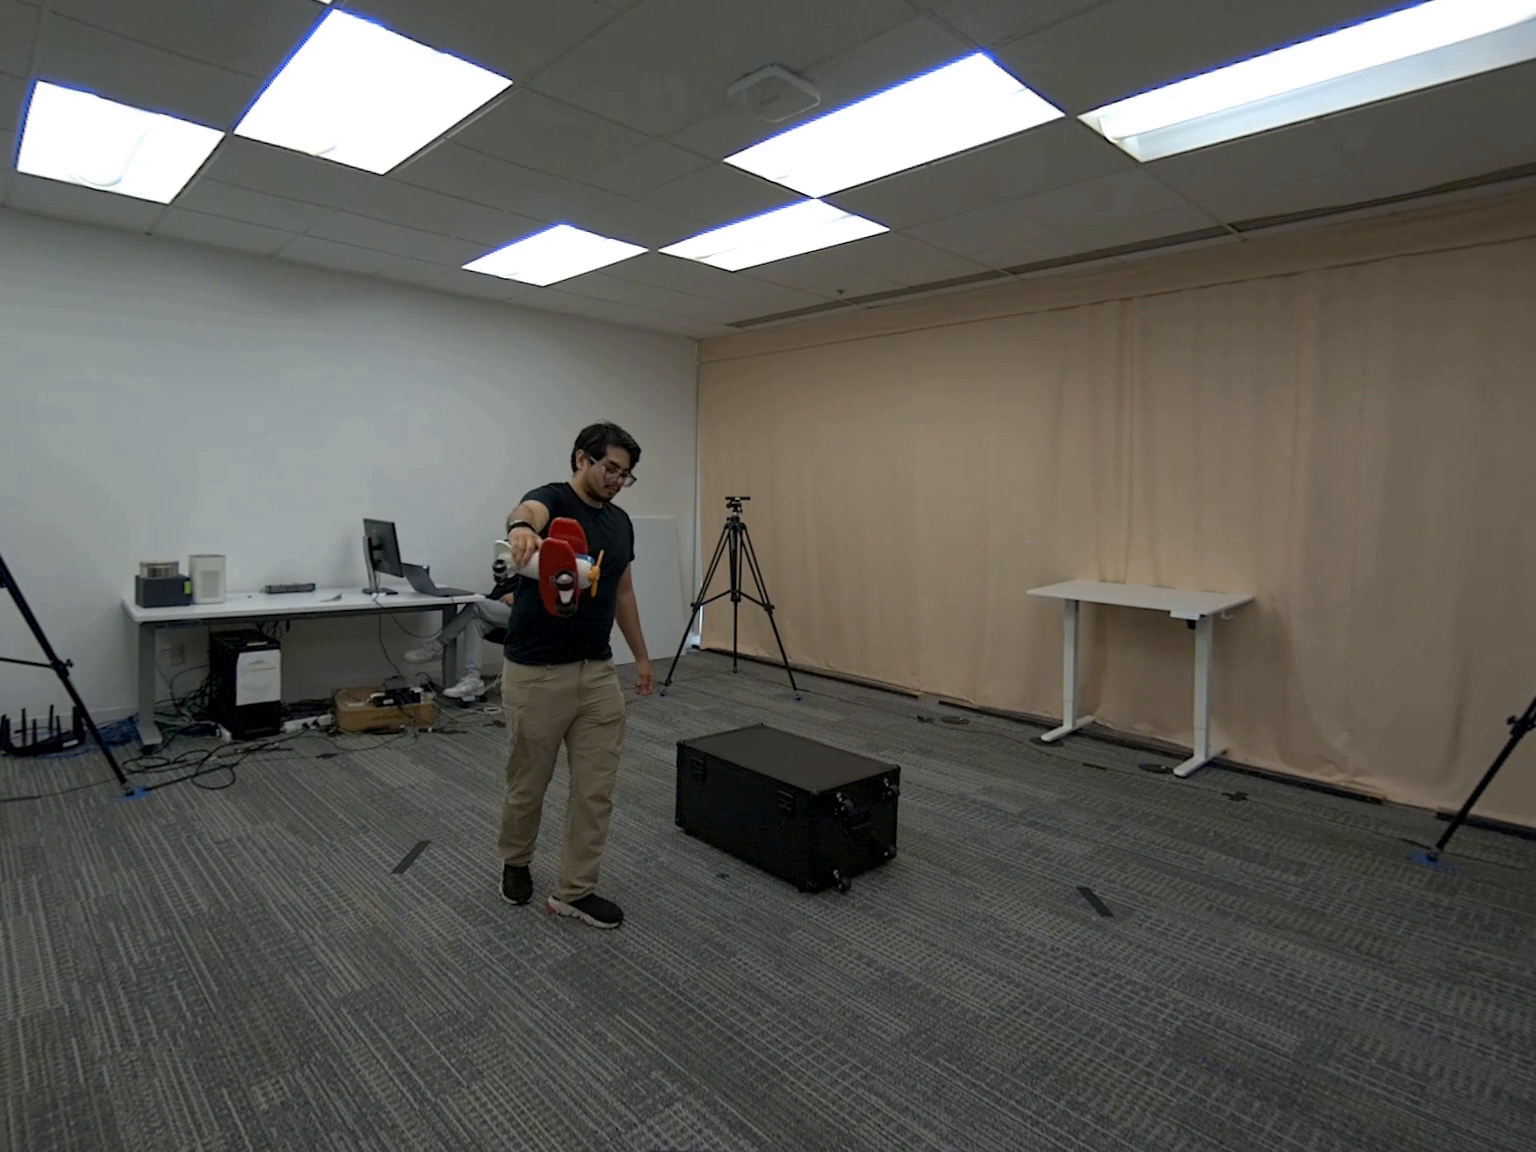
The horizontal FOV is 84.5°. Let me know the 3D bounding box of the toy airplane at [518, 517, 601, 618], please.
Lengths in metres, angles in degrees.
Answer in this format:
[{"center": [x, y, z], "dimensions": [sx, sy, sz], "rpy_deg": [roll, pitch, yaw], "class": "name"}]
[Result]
[{"center": [-0.557, -0.025, 2.058], "dimensions": [0.257, 0.158, 0.251], "rpy_deg": [36, -46, -8], "class": "toy airplane"}]
